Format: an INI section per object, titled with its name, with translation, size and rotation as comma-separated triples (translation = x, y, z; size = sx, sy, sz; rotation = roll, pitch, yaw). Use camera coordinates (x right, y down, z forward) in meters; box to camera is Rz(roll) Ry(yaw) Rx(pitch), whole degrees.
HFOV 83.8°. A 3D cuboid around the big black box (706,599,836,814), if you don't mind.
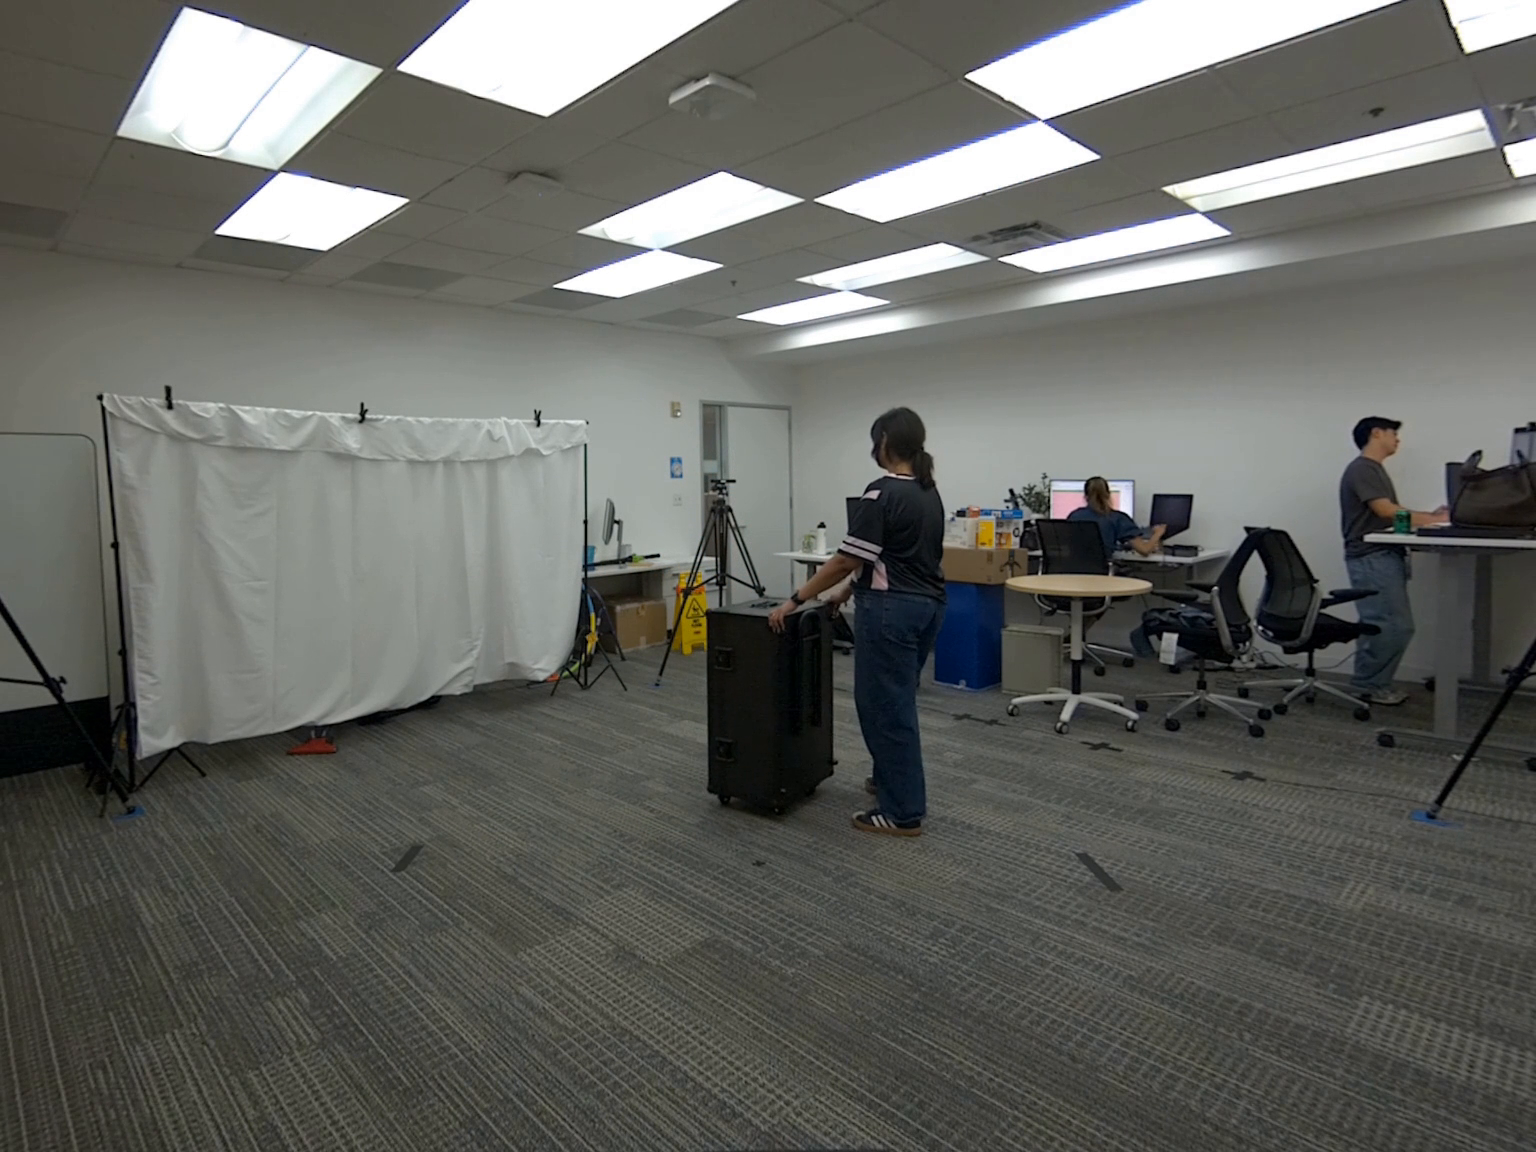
[big black box]
translation = 0.025, 0.555, 3.718
size = 0.396, 0.865, 0.511
rotation = 2, 6, 33
